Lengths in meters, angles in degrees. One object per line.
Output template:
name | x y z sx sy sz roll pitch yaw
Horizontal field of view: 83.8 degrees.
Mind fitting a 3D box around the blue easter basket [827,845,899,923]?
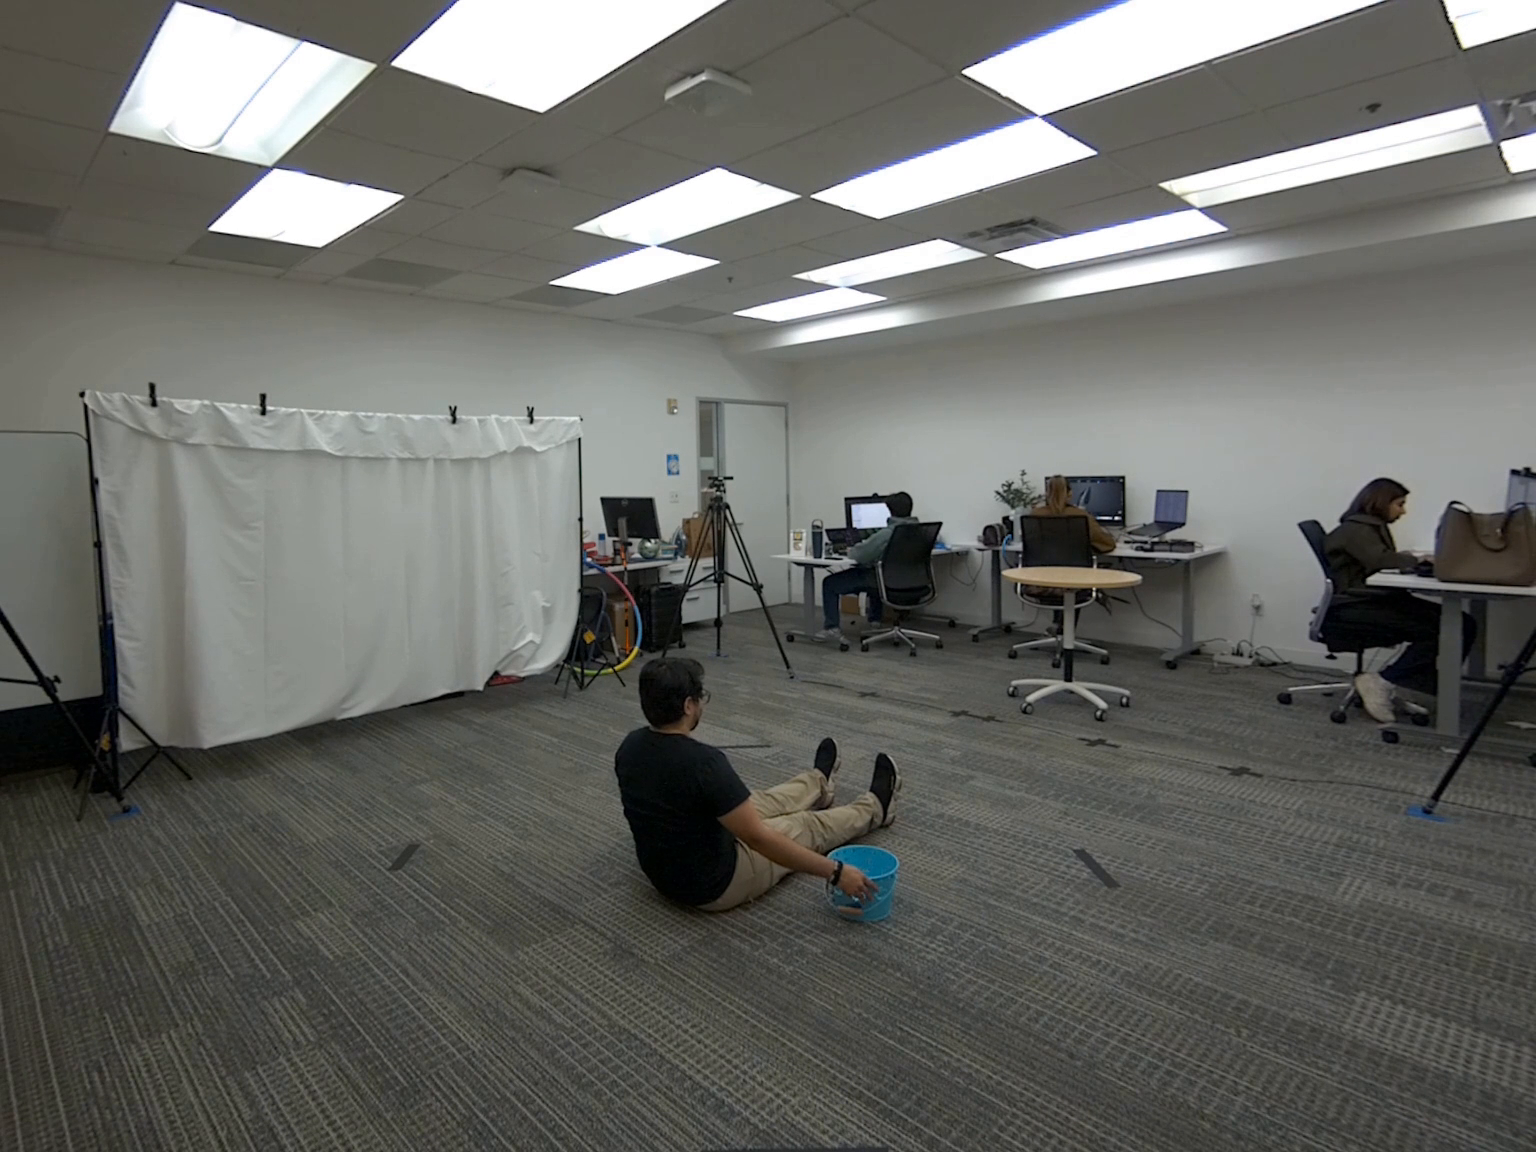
blue easter basket | 0.299 0.991 2.753 0.243 0.155 0.245 -1 6 -2
